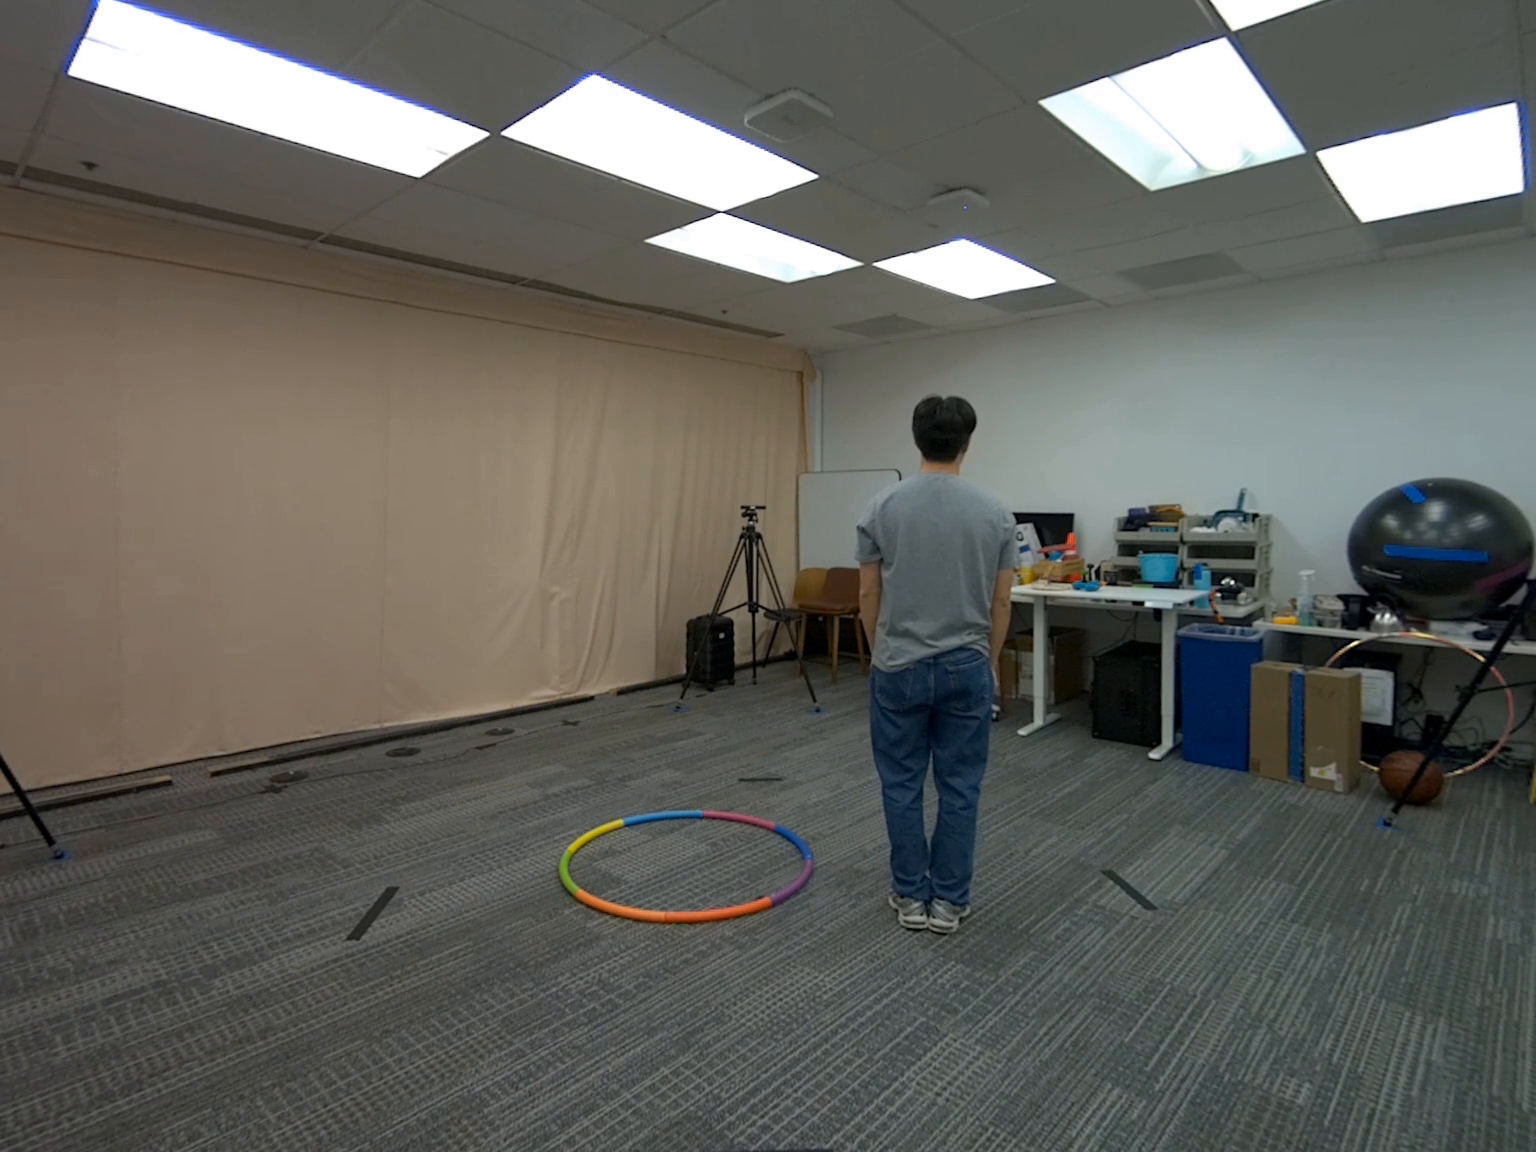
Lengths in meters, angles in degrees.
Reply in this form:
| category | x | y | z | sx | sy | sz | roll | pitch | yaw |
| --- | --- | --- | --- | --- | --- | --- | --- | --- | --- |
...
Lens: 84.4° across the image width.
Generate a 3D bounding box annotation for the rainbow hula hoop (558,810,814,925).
| category | x | y | z | sx | sy | sz | roll | pitch | yaw |
| --- | --- | --- | --- | --- | --- | --- | --- | --- | --- |
| rainbow hula hoop | -0.312 | 1.091 | 3.290 | 0.978 | 0.035 | 0.982 | 0 | 4 | -2 |
